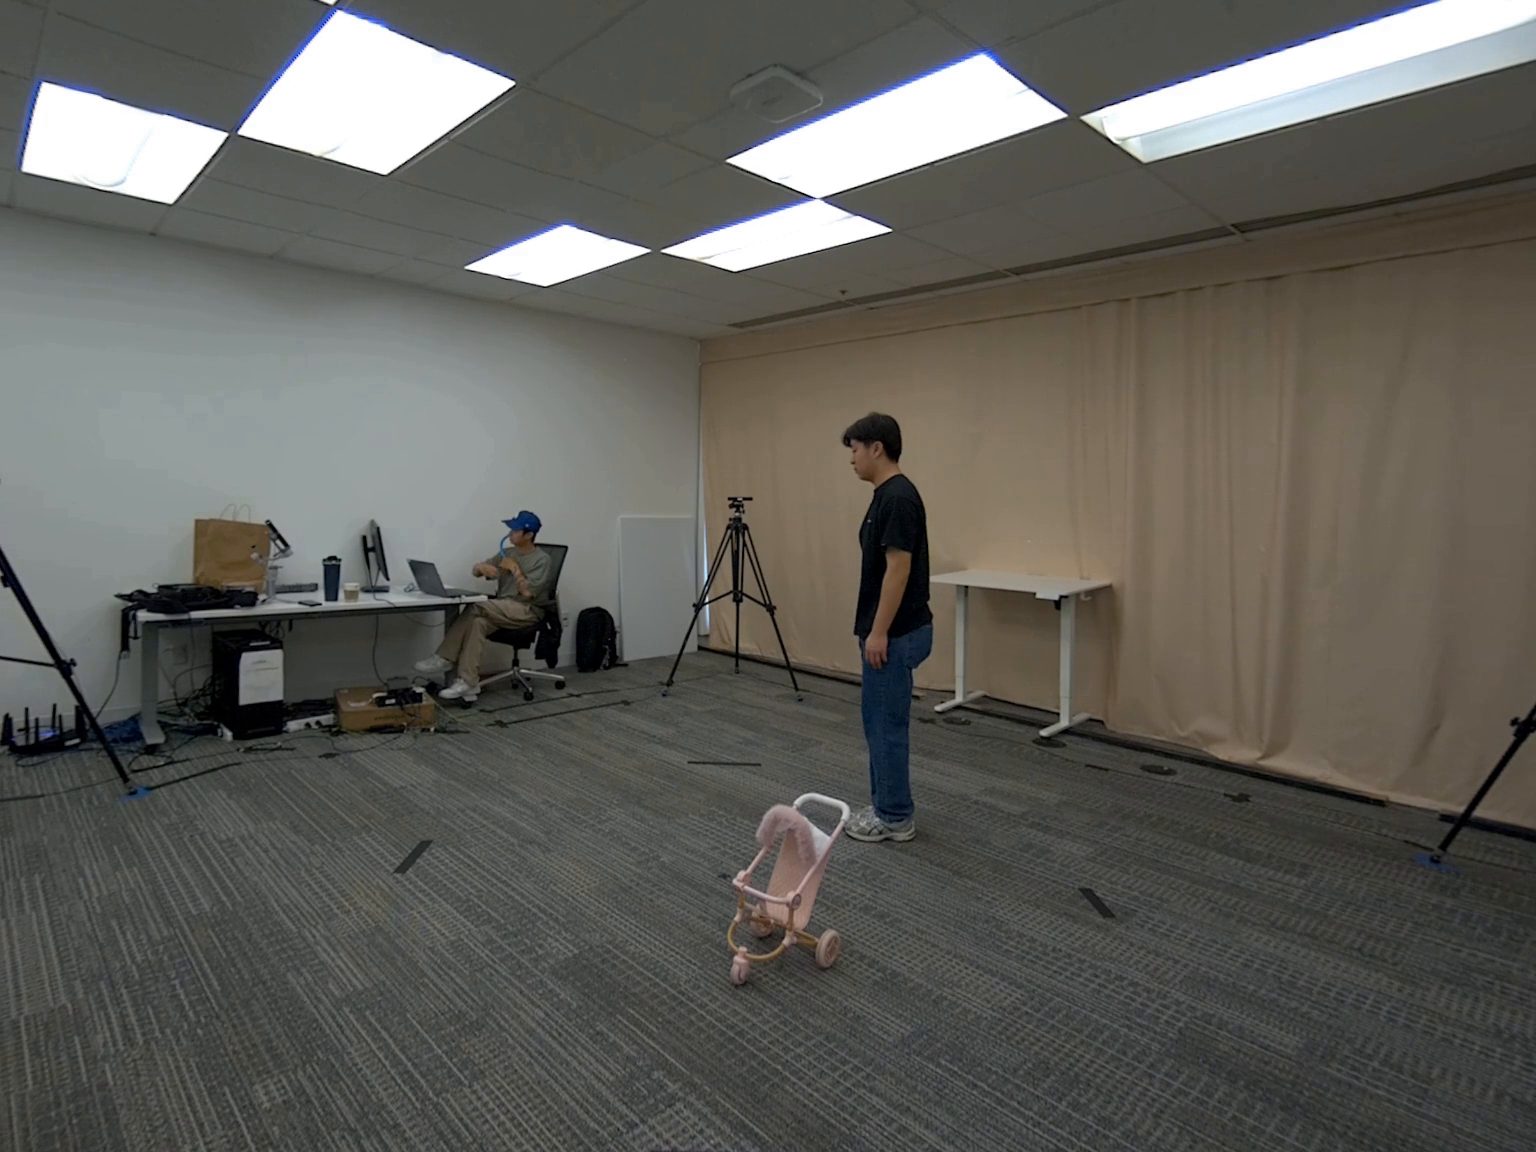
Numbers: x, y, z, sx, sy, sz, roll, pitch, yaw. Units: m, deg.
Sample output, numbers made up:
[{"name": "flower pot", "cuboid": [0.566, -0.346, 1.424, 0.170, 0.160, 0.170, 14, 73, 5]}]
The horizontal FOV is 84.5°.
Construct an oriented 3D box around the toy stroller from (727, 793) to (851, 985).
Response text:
[{"name": "toy stroller", "cuboid": [0.038, 0.936, 2.540, 0.288, 0.537, 0.331, 5, -10, 45]}]
